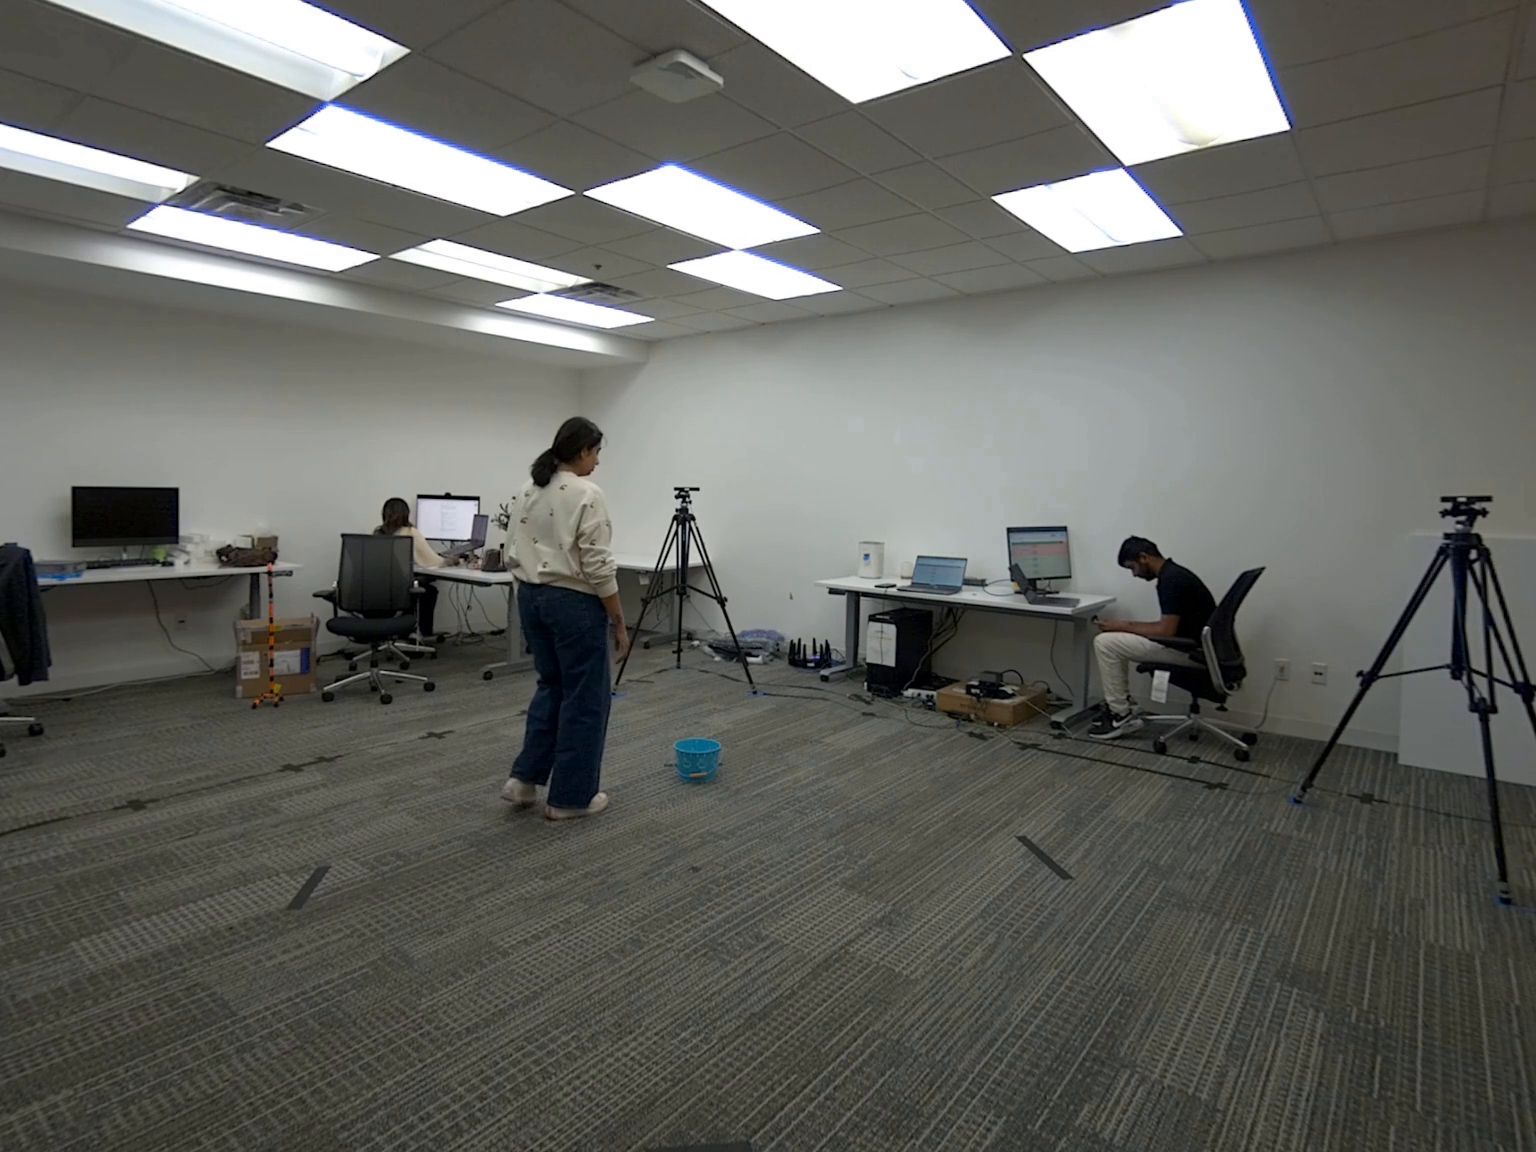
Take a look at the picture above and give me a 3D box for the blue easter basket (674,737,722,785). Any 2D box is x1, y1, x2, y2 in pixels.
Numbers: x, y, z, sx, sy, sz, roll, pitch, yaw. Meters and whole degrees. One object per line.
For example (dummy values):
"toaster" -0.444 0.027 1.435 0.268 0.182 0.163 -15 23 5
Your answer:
"blue easter basket" -0.346 0.890 4.112 0.243 0.155 0.245 1 5 -2
